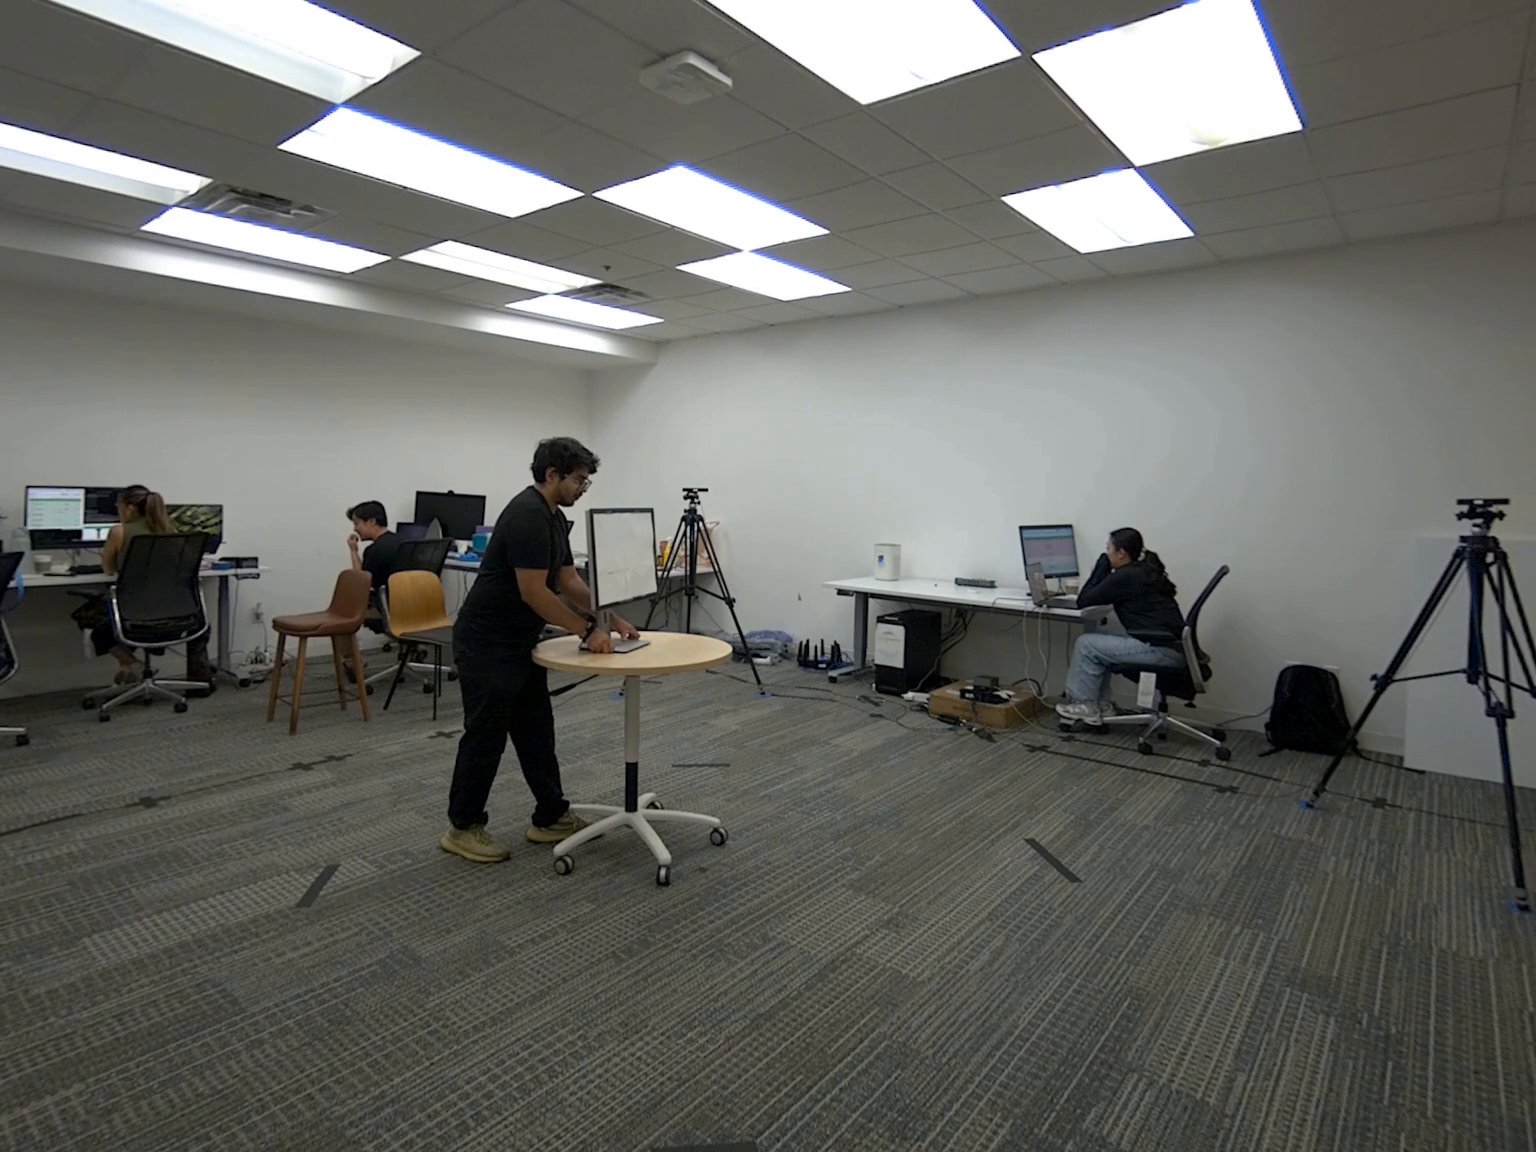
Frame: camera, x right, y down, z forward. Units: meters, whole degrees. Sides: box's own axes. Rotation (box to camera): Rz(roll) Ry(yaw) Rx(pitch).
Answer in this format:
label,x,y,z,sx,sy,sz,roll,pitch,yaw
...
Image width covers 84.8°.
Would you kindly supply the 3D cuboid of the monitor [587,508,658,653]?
label,x,y,z,sx,sy,sz,roll,pitch,yaw
monitor,-0.624,0.007,3.283,0.214,0.552,0.556,1,4,17
